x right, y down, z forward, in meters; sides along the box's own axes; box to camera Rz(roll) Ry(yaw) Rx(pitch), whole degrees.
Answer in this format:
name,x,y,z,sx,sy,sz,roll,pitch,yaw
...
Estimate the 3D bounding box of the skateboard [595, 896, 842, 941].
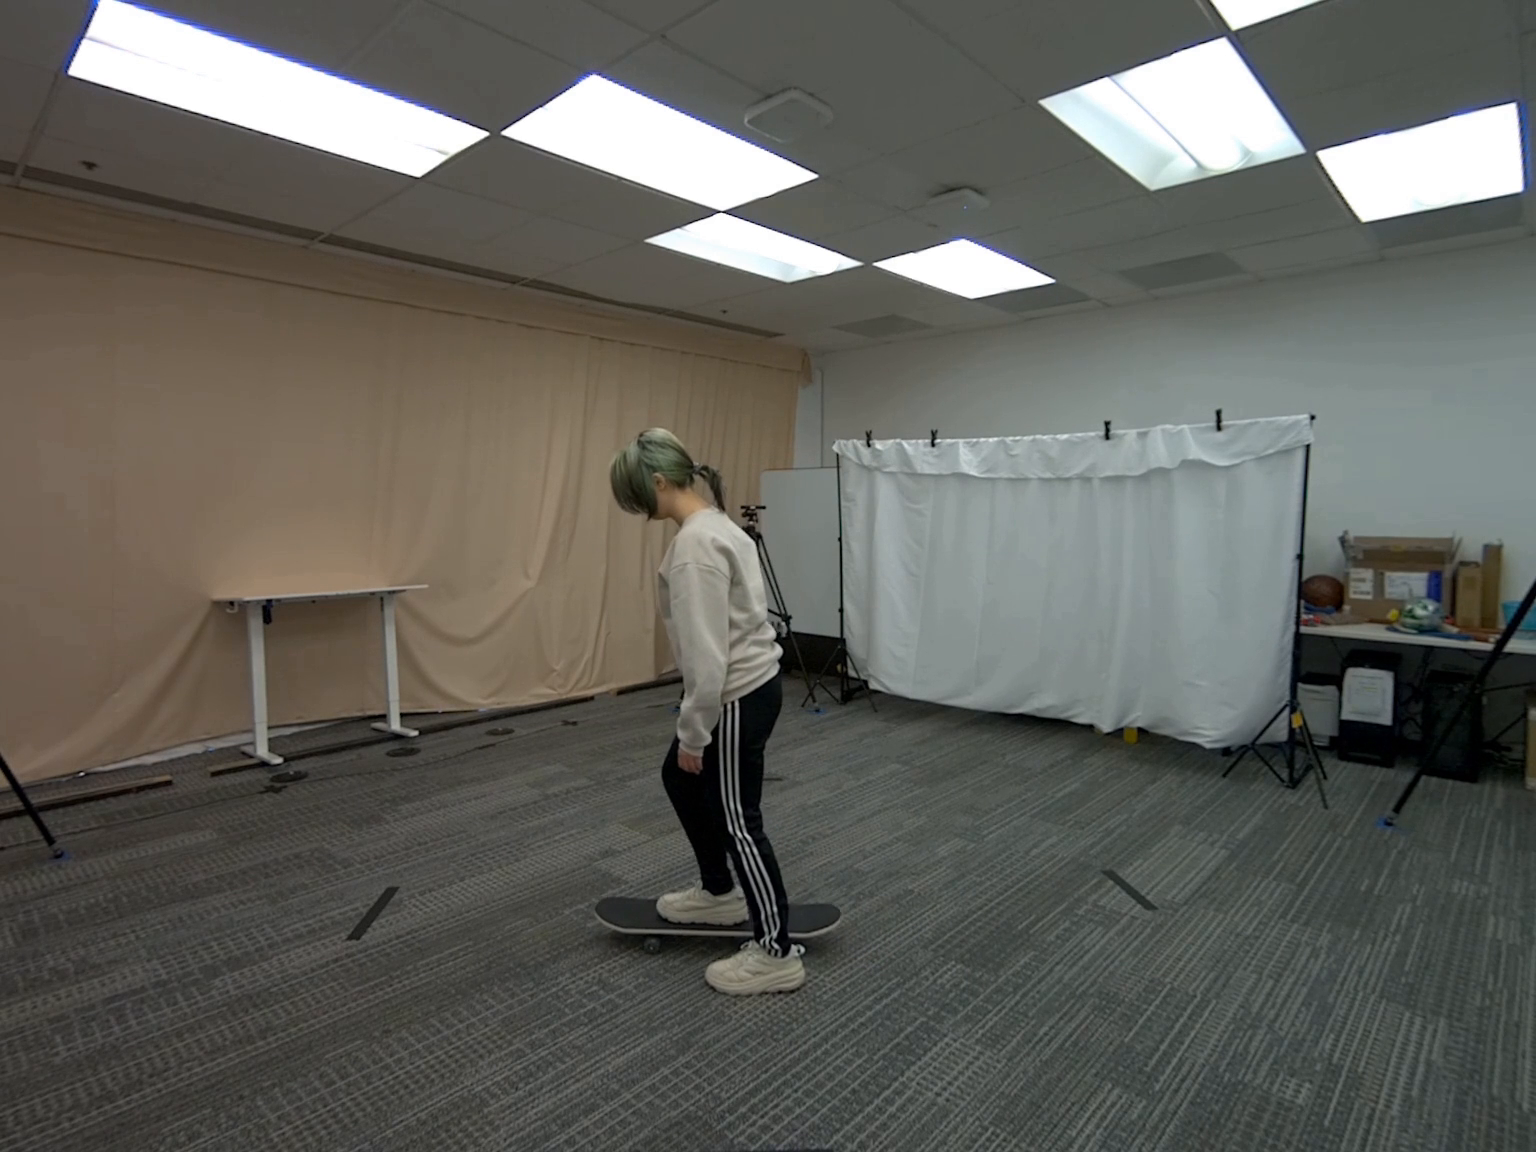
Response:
name,x,y,z,sx,sy,sz,roll,pitch,yaw
skateboard,-0.161,1.116,2.682,0.789,0.110,0.193,0,5,4
